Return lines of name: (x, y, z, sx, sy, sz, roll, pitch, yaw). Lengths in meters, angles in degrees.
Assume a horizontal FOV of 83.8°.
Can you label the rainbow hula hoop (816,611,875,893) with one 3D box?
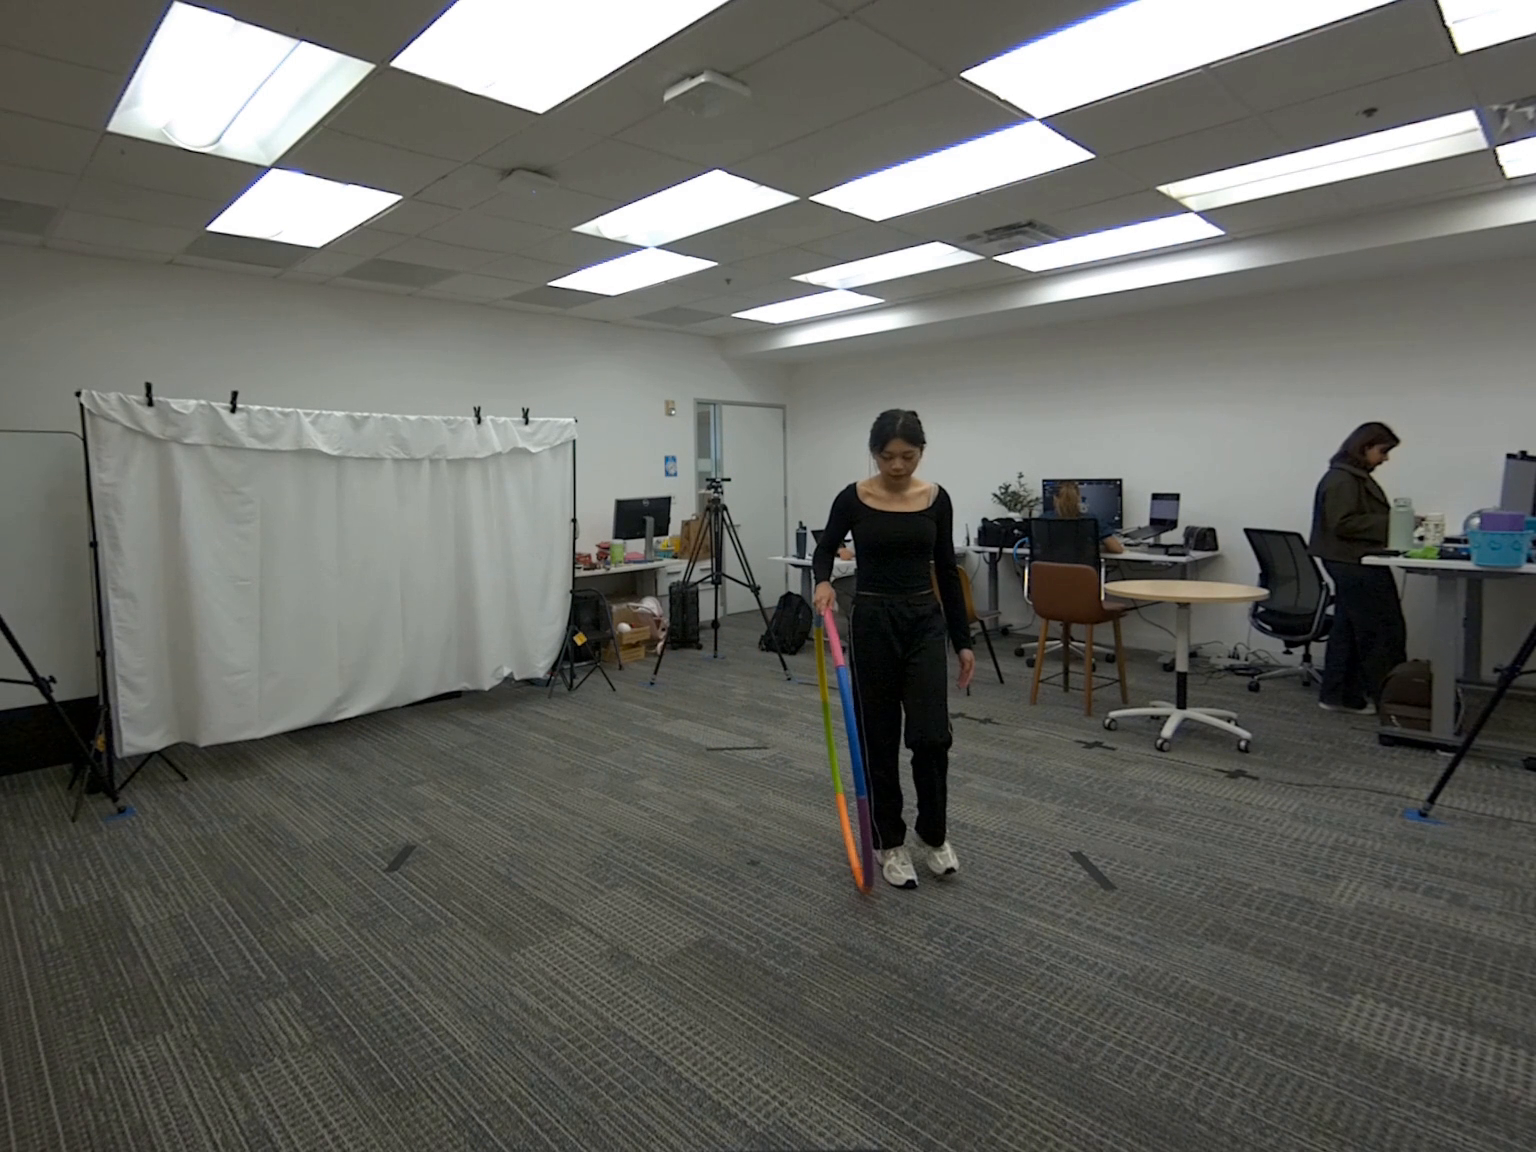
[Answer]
rainbow hula hoop: (0.253, 0.563, 2.951, 0.035, 0.975, 0.982, -8, 5, -1)
